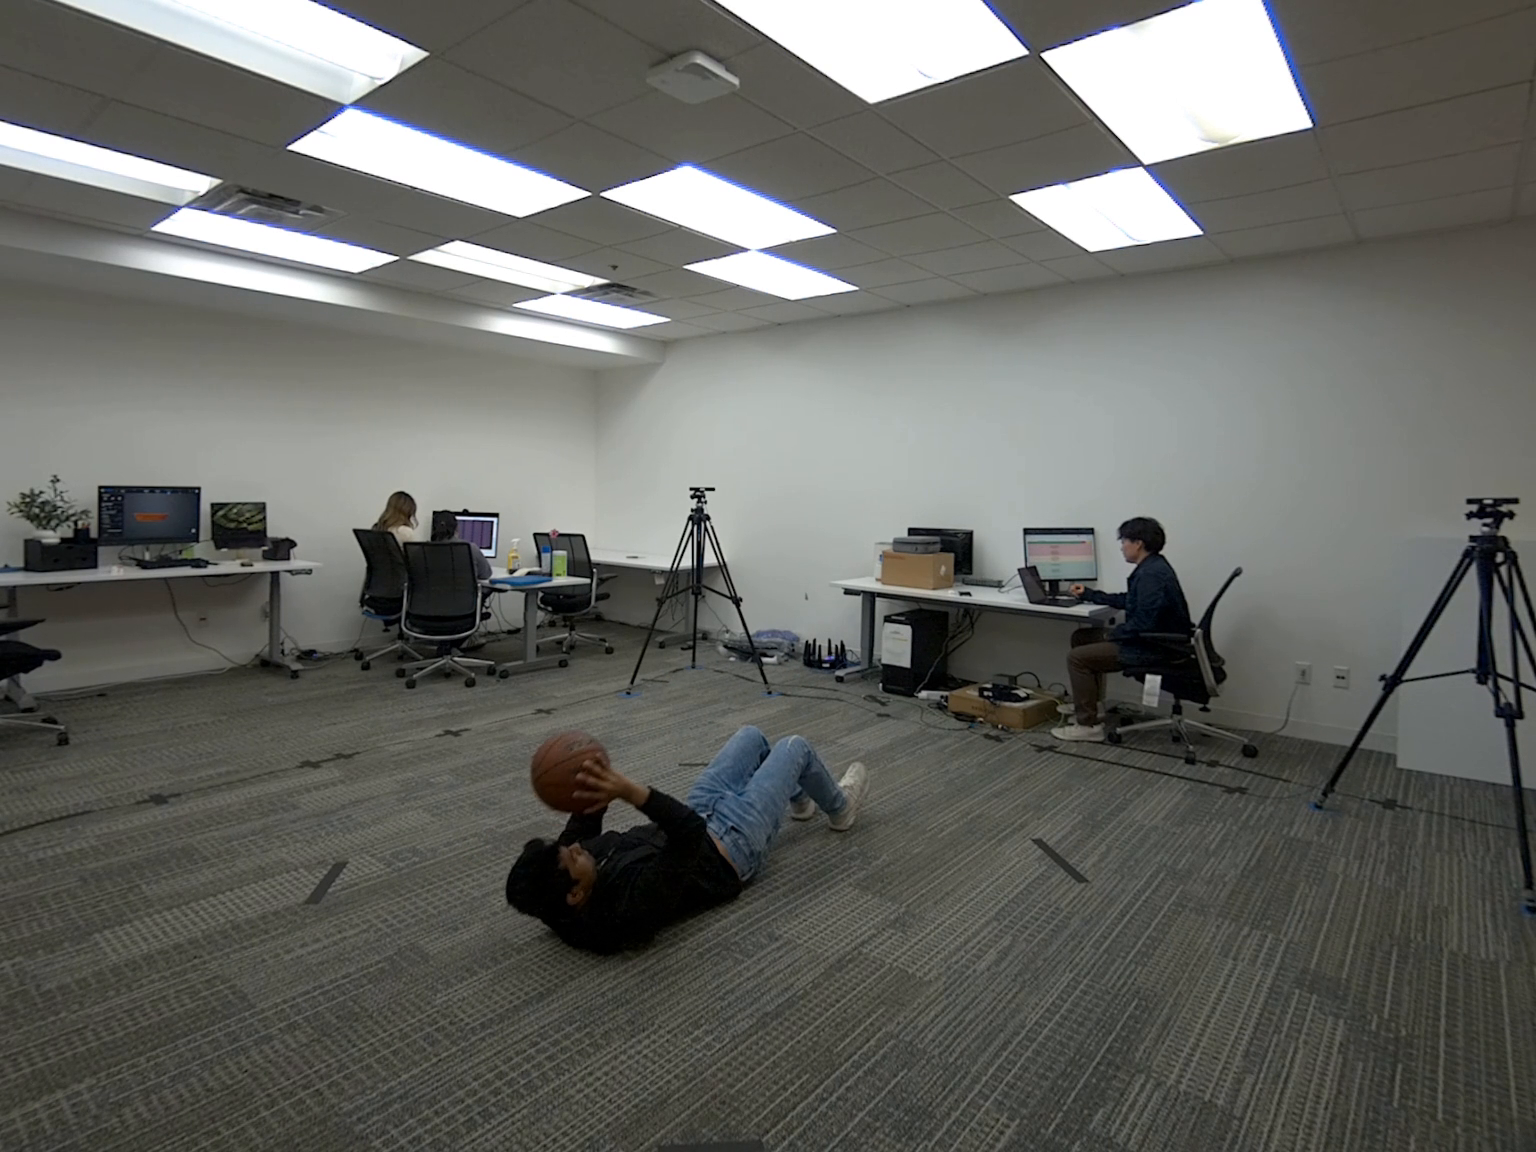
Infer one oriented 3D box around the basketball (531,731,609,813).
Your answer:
[{"bbox_3d":[-0.593,0.599,2.550,0.235,0.235,0.237,1,4,-2],"label":"basketball"}]
